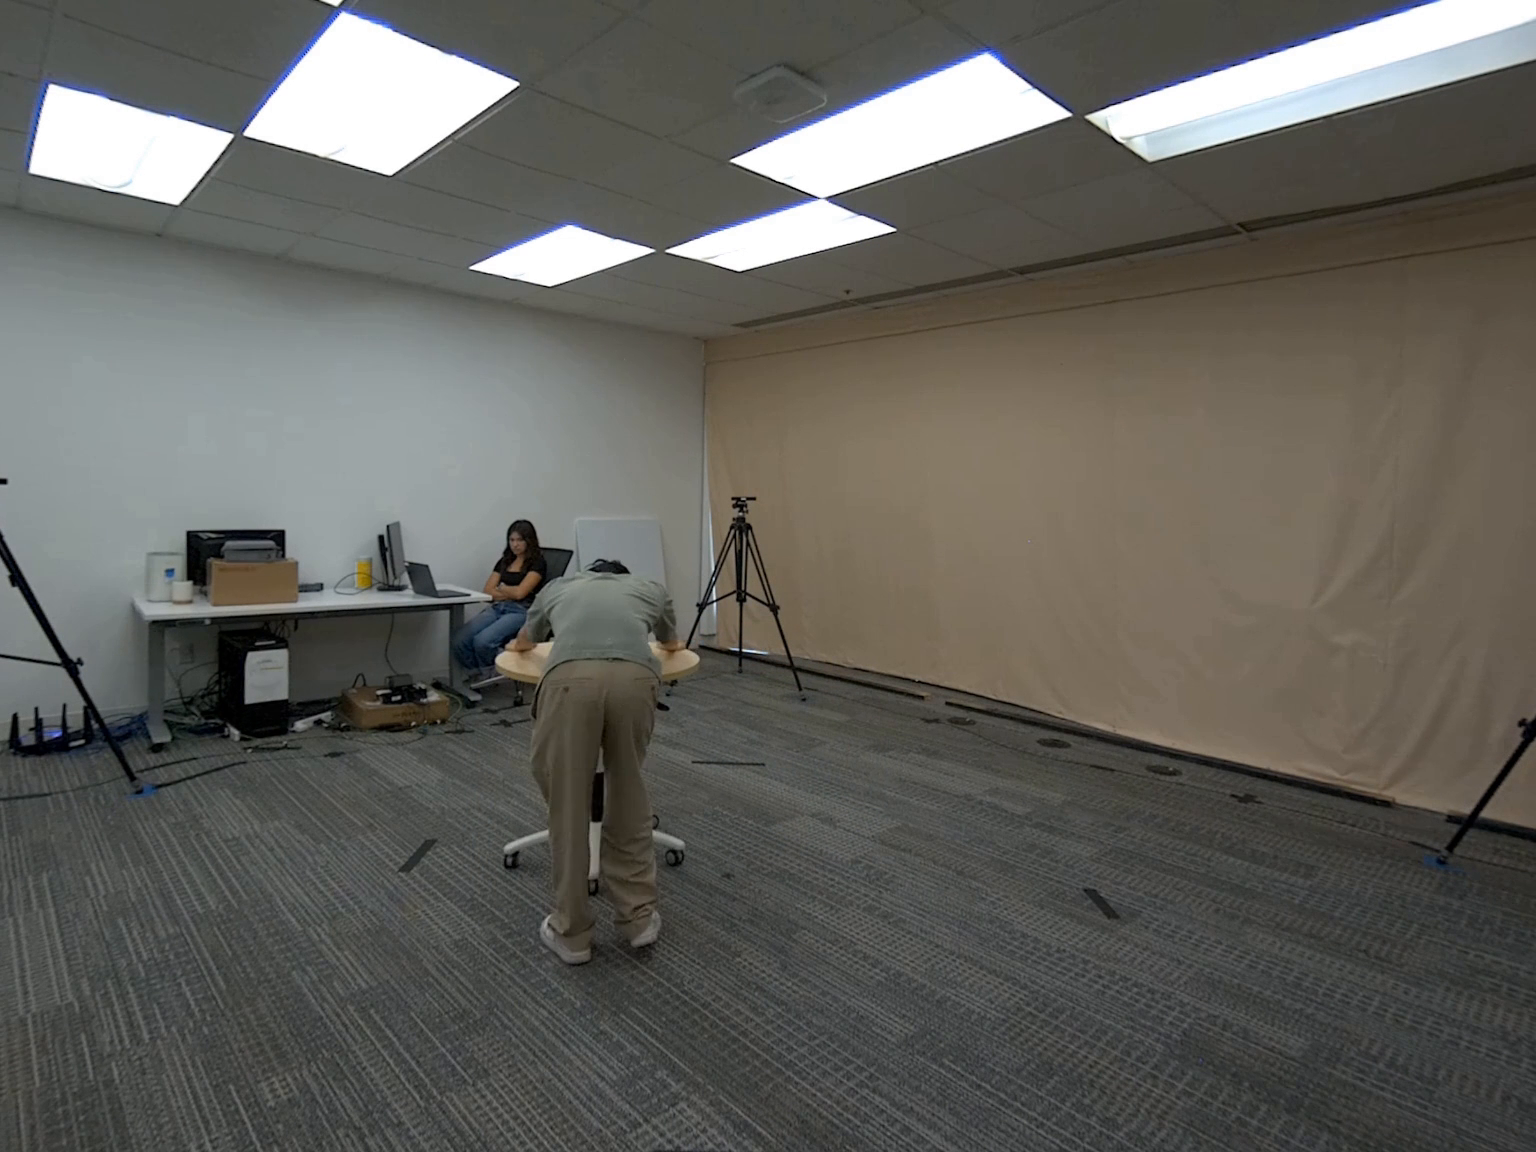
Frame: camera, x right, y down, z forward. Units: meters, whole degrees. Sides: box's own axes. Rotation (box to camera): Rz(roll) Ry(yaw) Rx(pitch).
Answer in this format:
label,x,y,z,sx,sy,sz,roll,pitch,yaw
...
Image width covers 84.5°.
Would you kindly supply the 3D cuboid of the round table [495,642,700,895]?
label,x,y,z,sx,sy,sz,roll,pitch,yaw
round table,-0.670,0.697,3.237,0.784,0.784,0.788,2,4,-2
